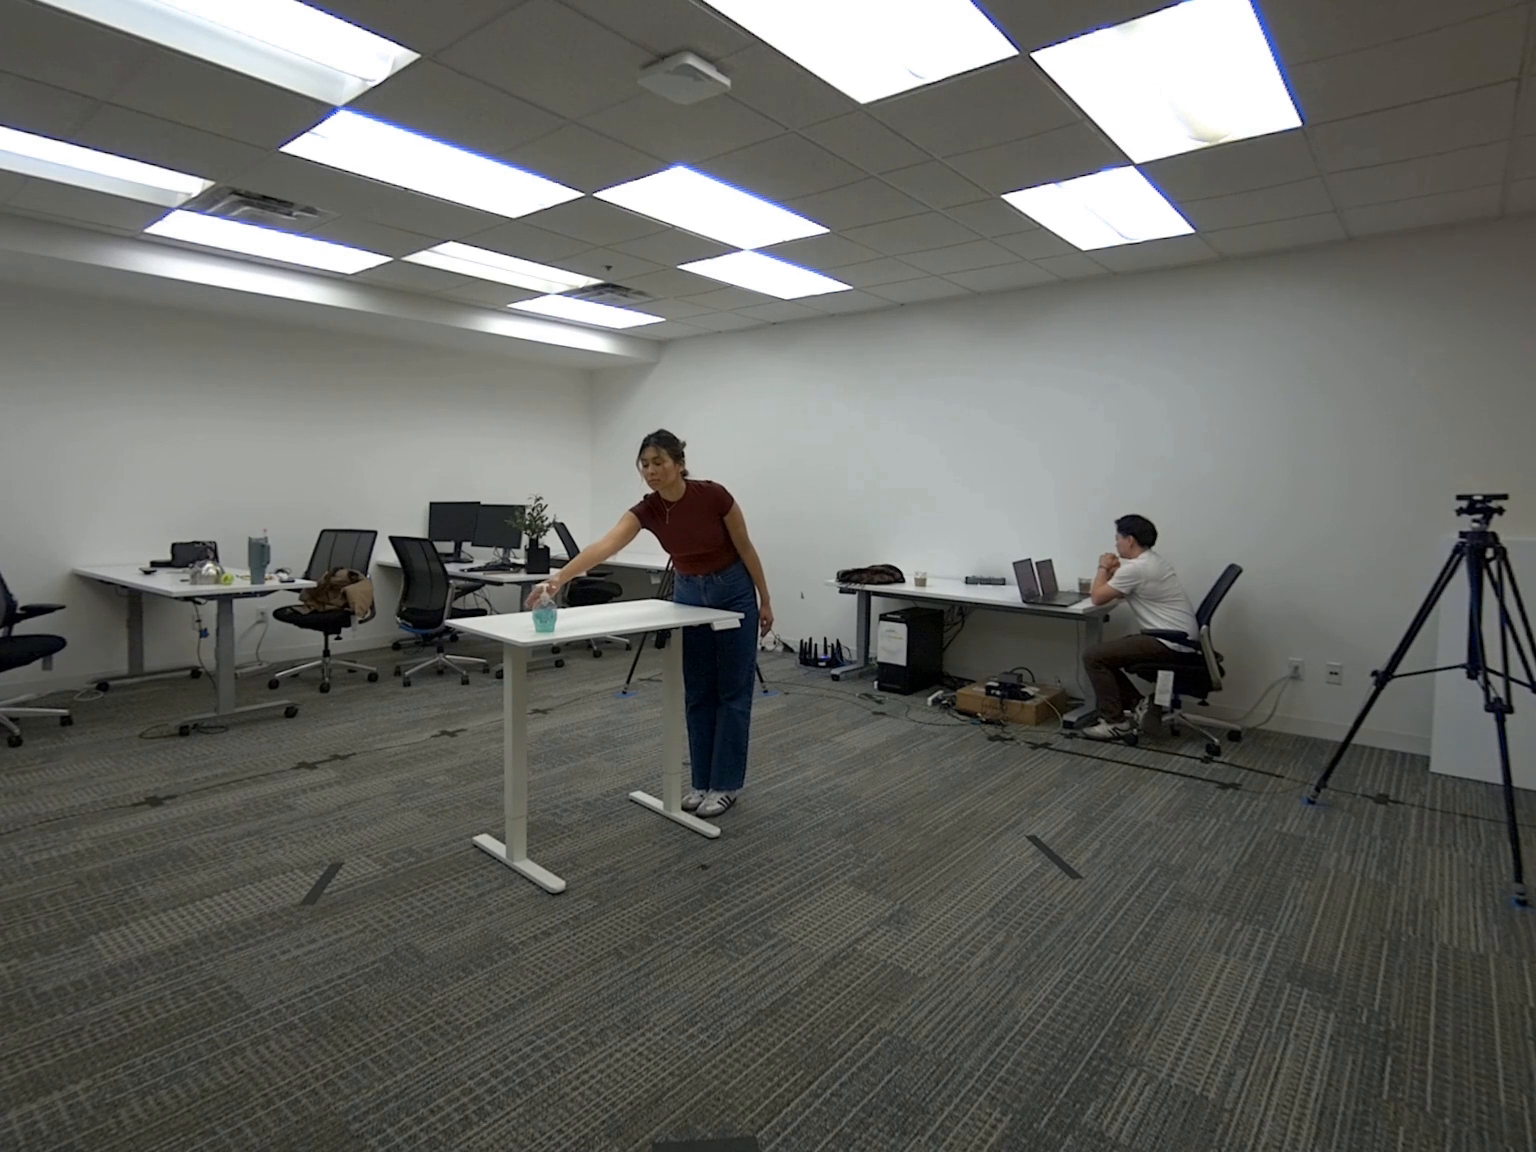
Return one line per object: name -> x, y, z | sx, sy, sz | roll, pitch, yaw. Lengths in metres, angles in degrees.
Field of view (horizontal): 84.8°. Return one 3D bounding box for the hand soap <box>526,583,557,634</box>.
hand soap -> -0.786, 0.111, 2.961 | 0.084, 0.167, 0.044 | 1, 4, -5
